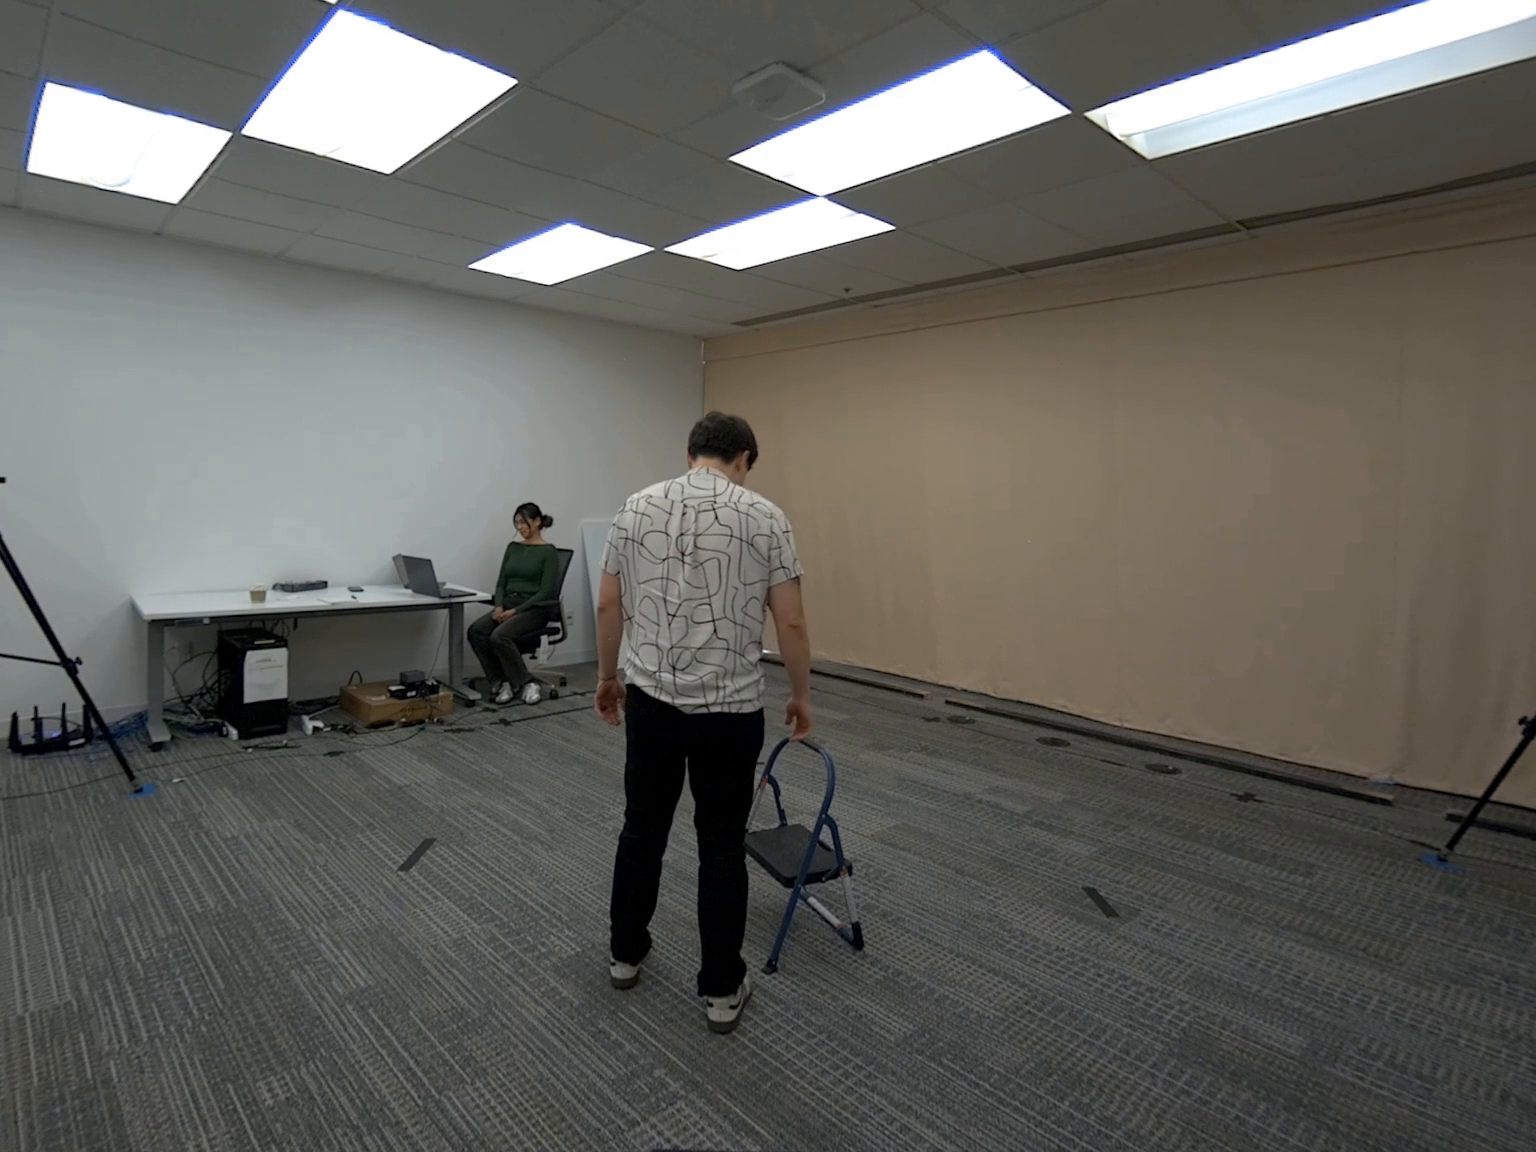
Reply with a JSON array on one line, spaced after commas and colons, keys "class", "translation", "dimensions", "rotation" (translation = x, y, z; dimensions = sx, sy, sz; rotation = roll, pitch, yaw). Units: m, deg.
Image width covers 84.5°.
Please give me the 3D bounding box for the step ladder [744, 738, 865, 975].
[{"class": "step ladder", "translation": [0.057, 0.840, 2.702], "dimensions": [0.343, 0.604, 0.440], "rotation": [-1, 5, -26]}]
